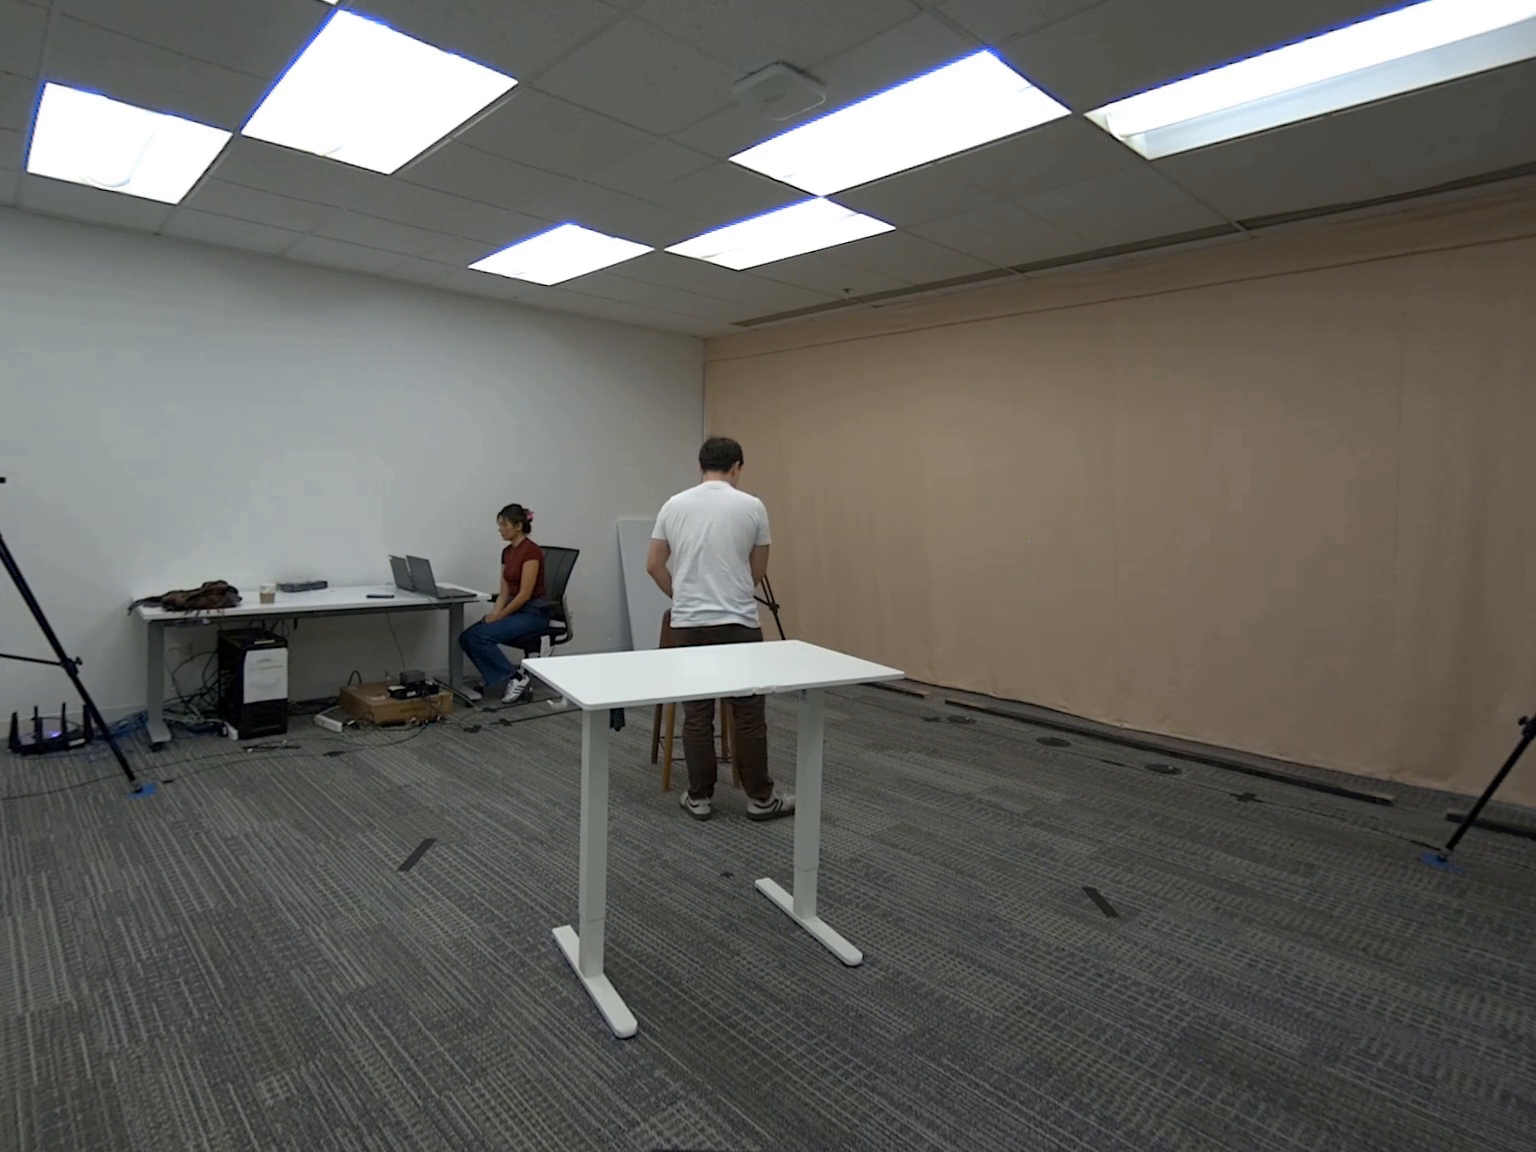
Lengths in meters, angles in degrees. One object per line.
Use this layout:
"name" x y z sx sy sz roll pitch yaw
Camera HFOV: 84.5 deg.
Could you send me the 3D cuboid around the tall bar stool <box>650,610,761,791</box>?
"tall bar stool" -0.362 0.569 4.203 0.452 0.887 0.474 1 5 -12
